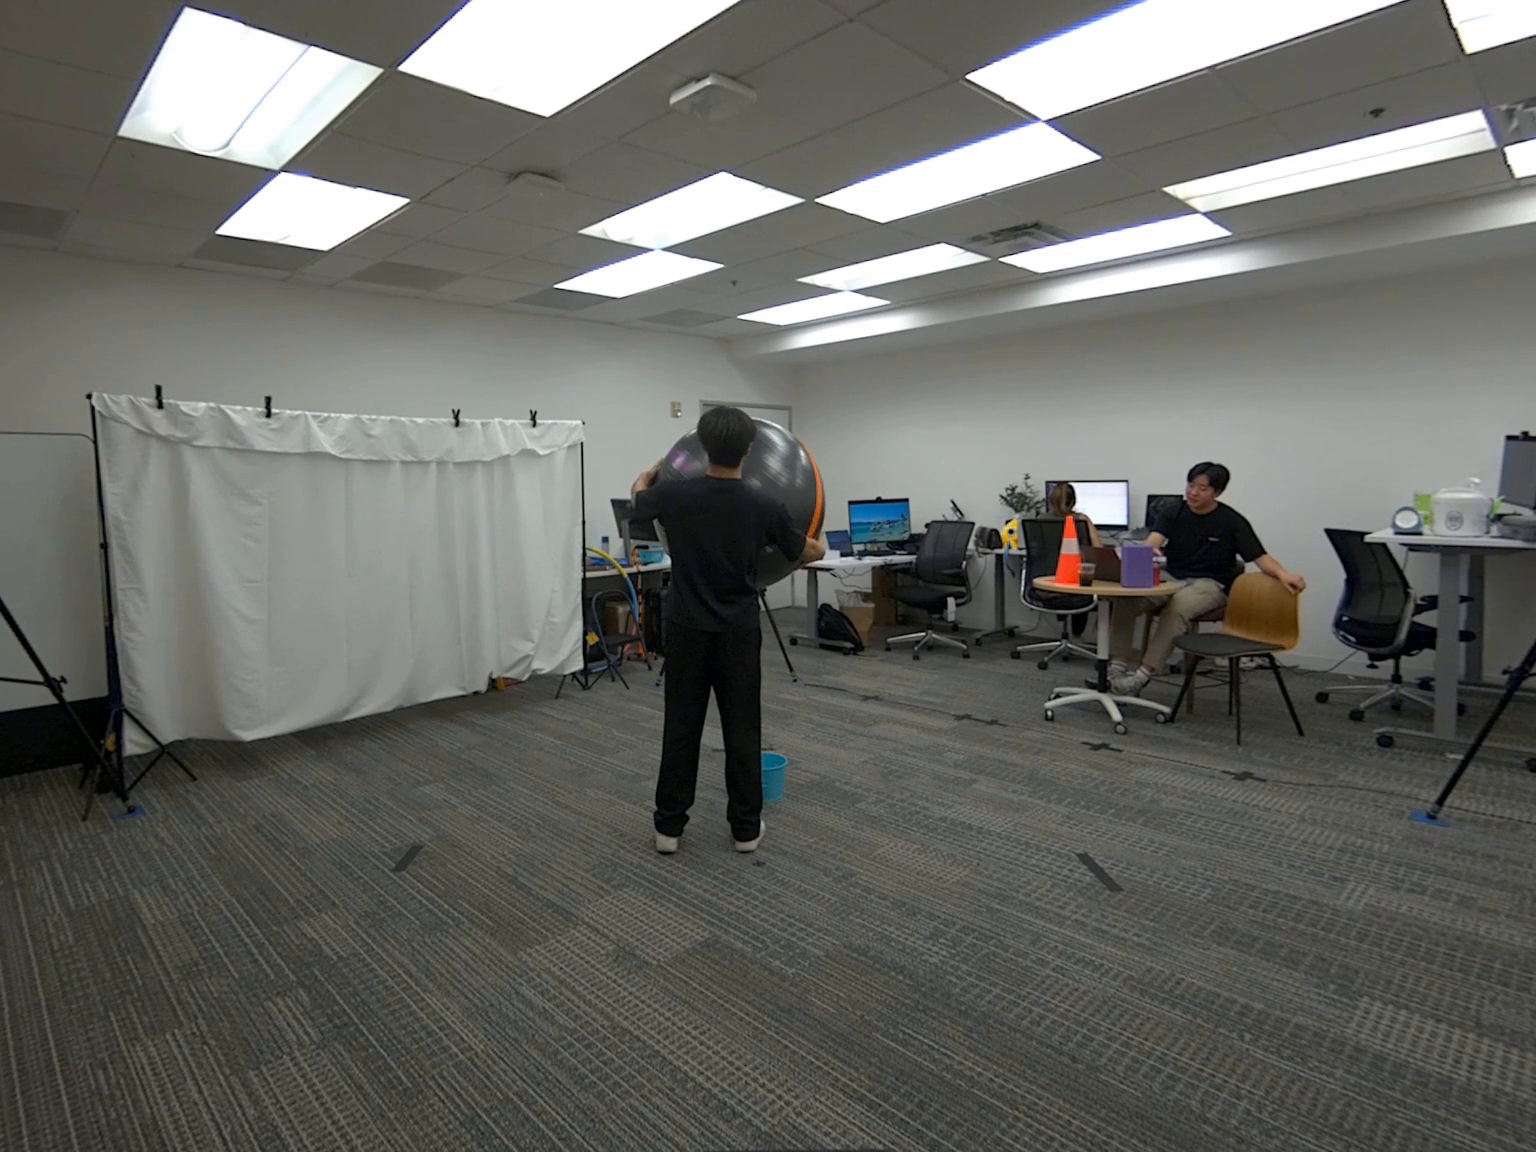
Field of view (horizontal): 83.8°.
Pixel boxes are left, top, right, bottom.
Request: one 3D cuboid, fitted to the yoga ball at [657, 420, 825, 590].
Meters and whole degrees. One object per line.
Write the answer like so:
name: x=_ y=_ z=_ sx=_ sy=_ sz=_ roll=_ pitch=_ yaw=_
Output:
yoga ball: x=-0.131 y=-0.312 z=3.759 sx=0.757 sy=0.755 sz=0.762 roll=-1 pitch=5 yaw=-2
